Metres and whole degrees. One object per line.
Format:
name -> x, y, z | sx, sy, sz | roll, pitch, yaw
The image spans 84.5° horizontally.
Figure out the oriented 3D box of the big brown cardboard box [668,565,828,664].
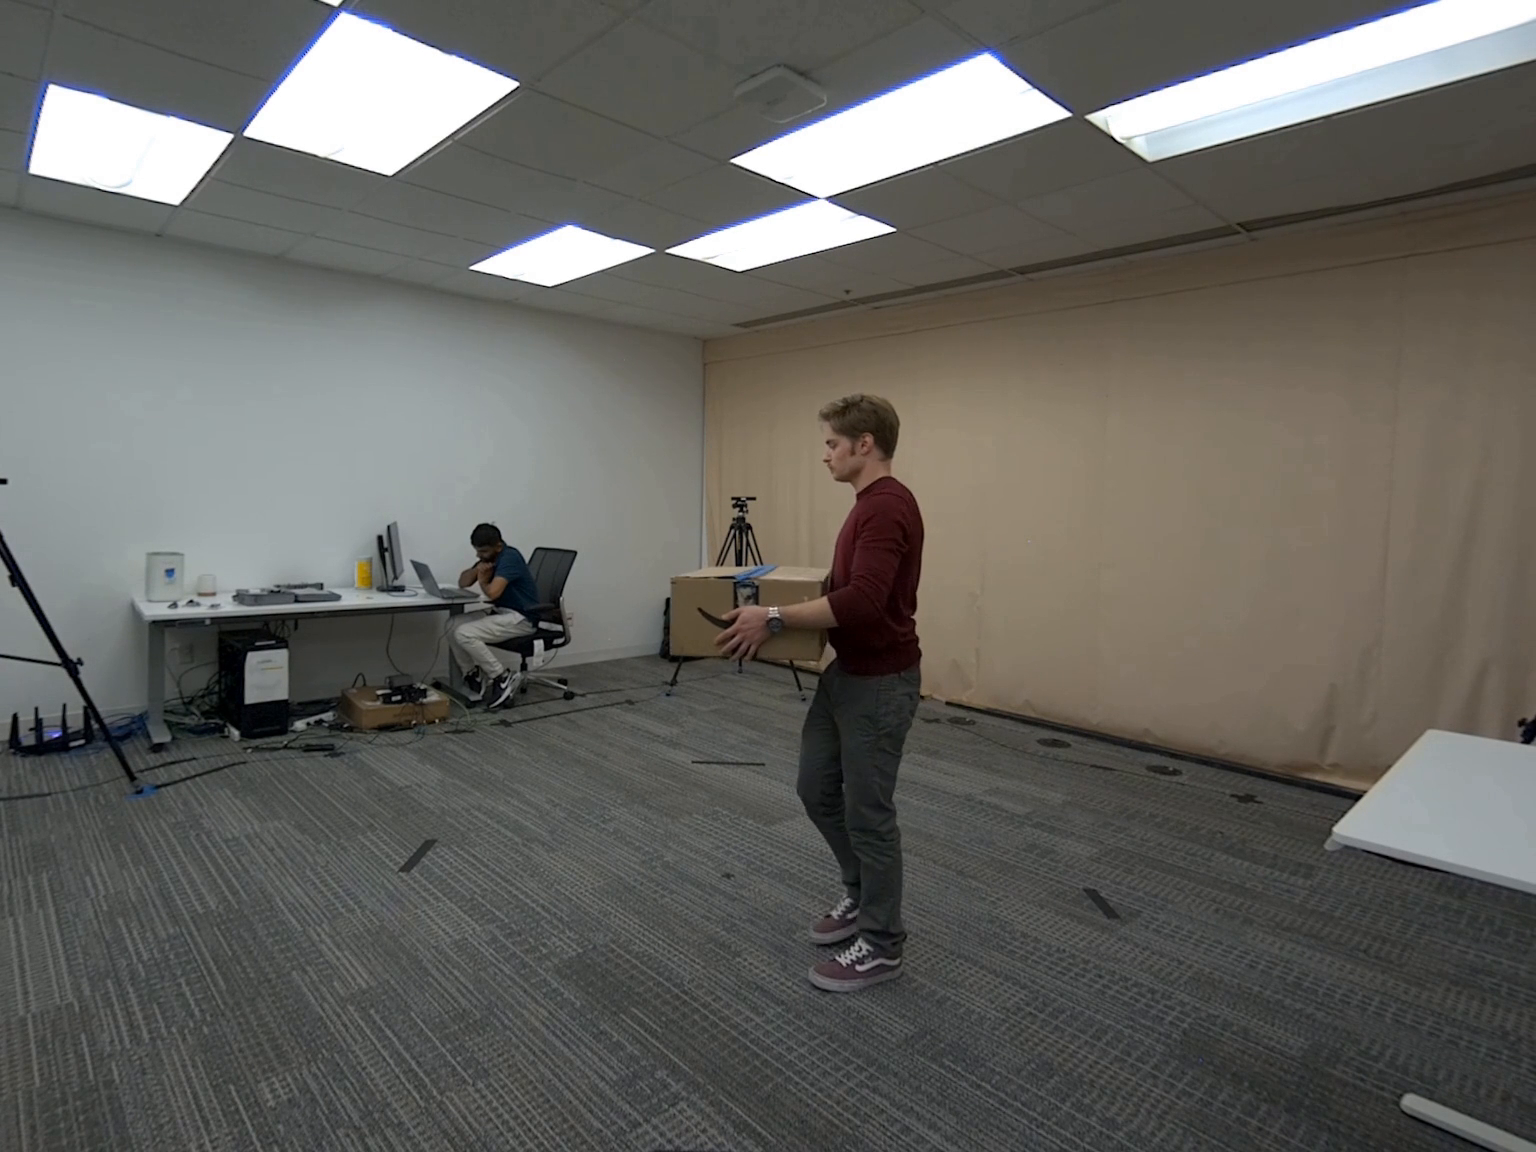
big brown cardboard box -> -0.032, 0.098, 2.551 | 0.420, 0.233, 0.586 | 1, 3, 7
